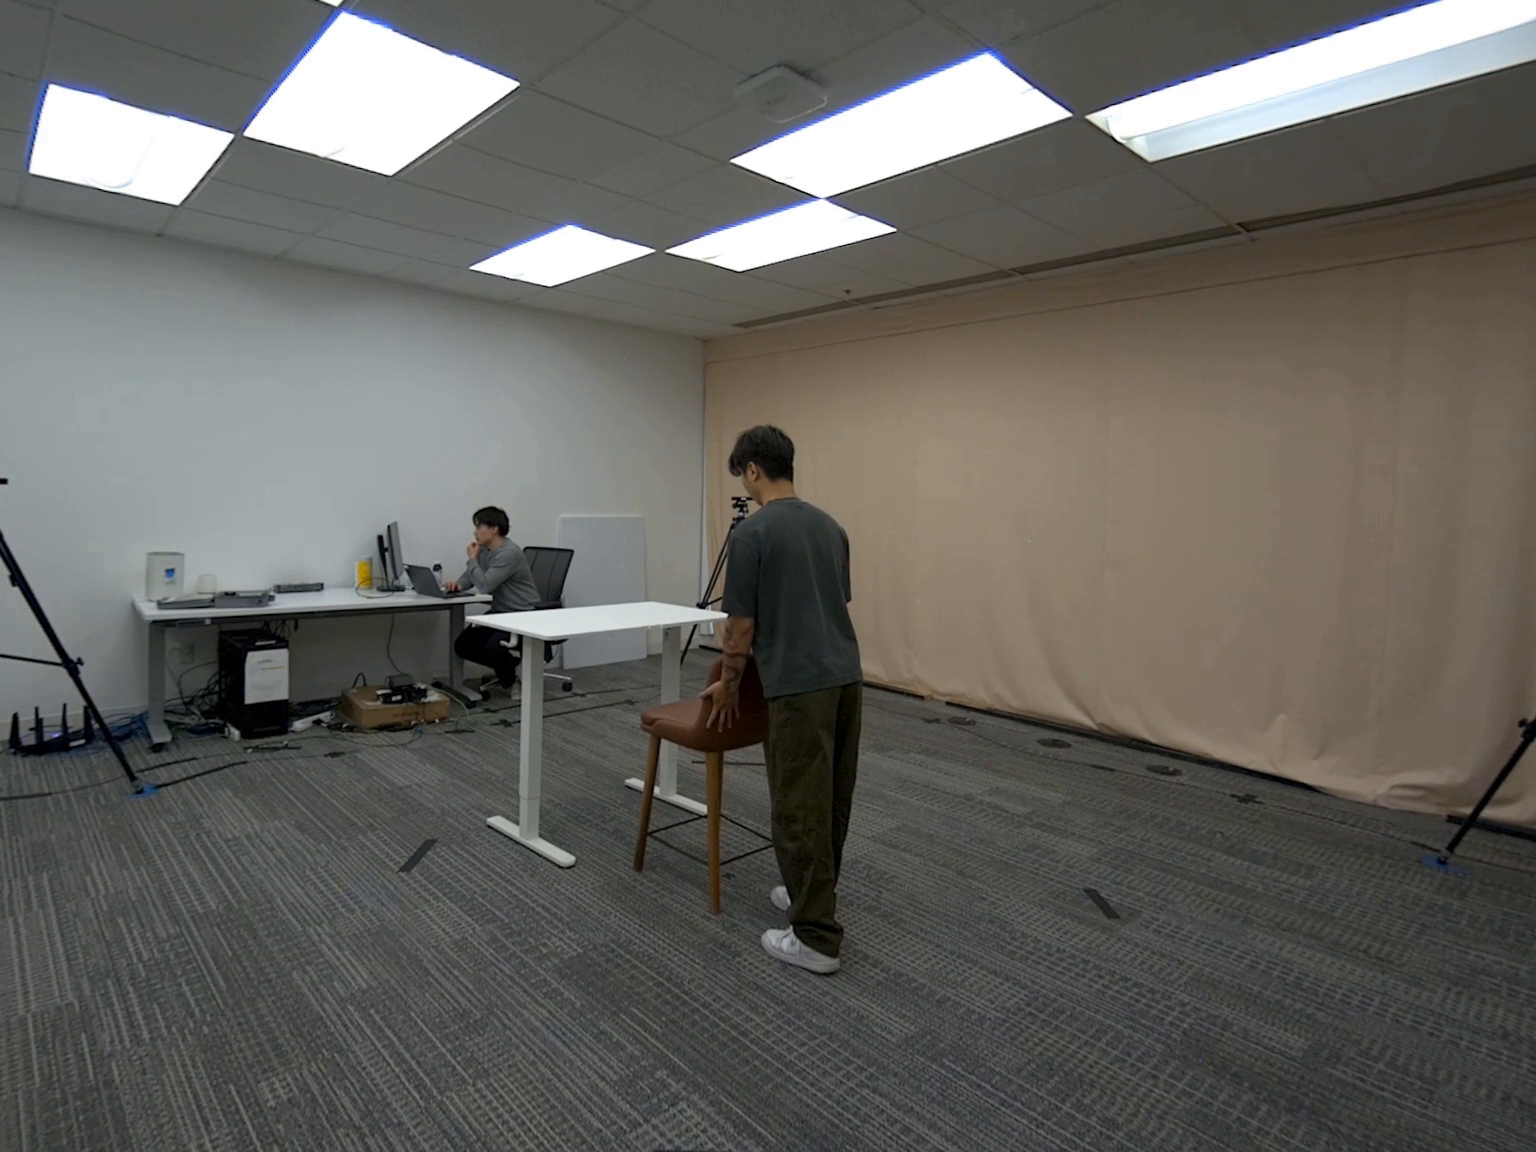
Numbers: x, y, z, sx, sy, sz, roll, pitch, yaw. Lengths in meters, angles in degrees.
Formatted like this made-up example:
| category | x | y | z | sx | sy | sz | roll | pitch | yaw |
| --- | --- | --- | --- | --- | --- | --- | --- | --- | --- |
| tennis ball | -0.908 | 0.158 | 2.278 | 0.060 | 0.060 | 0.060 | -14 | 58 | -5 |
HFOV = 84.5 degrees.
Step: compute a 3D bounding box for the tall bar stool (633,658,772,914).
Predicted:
| category | x | y | z | sx | sy | sz | roll | pitch | yaw |
| --- | --- | --- | --- | --- | --- | --- | --- | --- | --- |
| tall bar stool | -0.192 | 0.671 | 3.072 | 0.446 | 0.887 | 0.480 | -1 | 6 | -43 |
